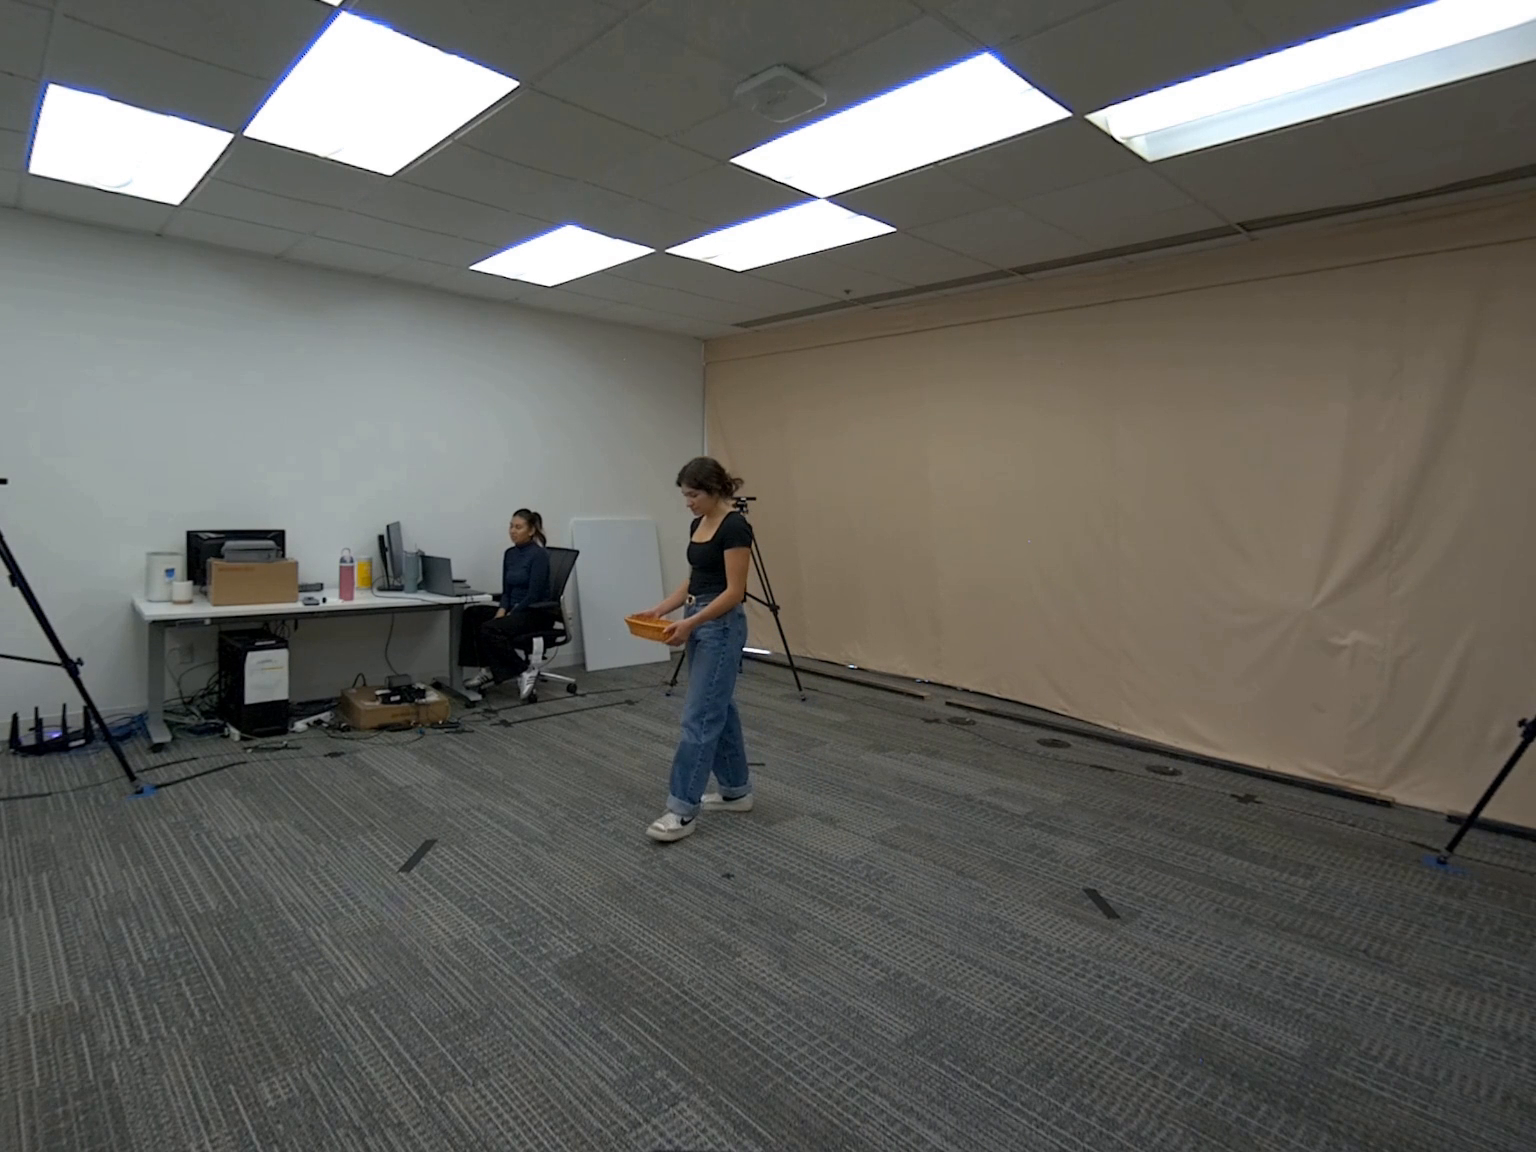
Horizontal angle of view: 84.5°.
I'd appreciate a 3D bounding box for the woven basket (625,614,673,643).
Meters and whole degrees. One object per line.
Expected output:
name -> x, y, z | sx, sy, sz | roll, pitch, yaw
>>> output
woven basket -> -0.467, 0.229, 3.563 | 0.247, 0.073, 0.358 | 5, 1, -32
